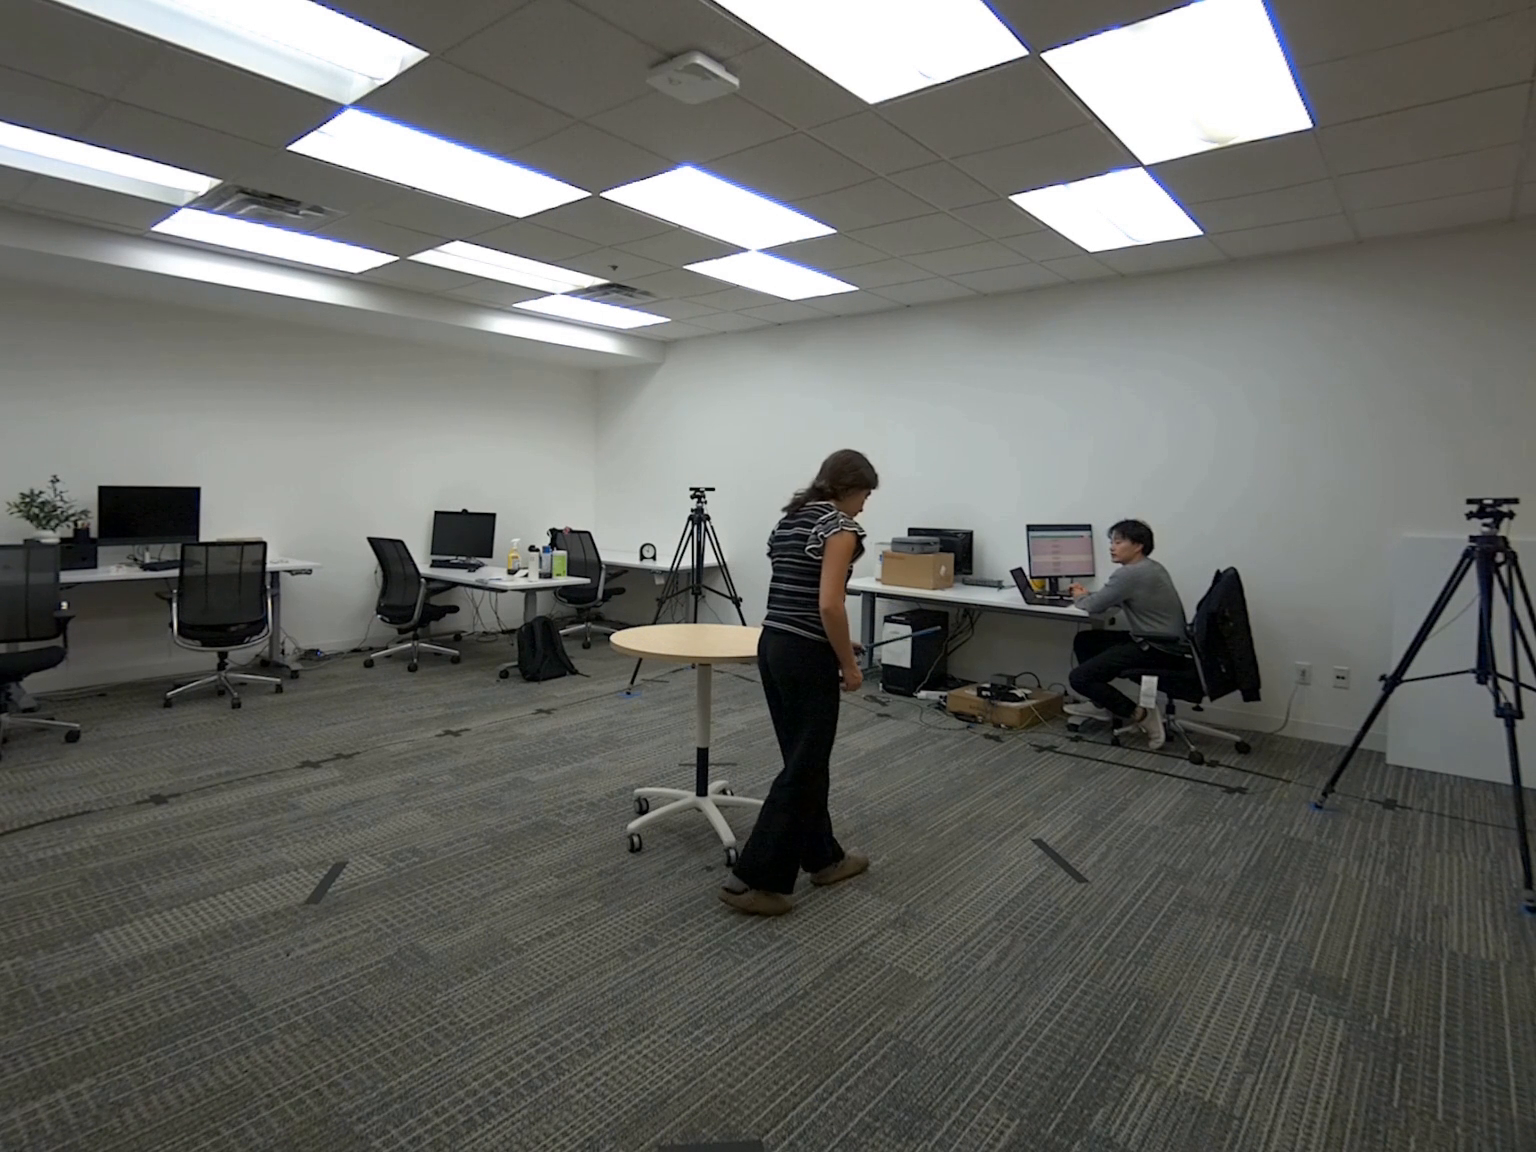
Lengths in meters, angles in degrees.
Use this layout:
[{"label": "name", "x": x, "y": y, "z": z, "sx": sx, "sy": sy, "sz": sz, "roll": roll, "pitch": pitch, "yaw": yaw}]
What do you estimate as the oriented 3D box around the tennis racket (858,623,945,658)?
[{"label": "tennis racket", "x": 0.420, "y": 0.256, "z": 3.155, "sx": 0.425, "sy": 0.032, "sz": 0.216, "roll": -13, "pitch": -5, "yaw": -23}]
